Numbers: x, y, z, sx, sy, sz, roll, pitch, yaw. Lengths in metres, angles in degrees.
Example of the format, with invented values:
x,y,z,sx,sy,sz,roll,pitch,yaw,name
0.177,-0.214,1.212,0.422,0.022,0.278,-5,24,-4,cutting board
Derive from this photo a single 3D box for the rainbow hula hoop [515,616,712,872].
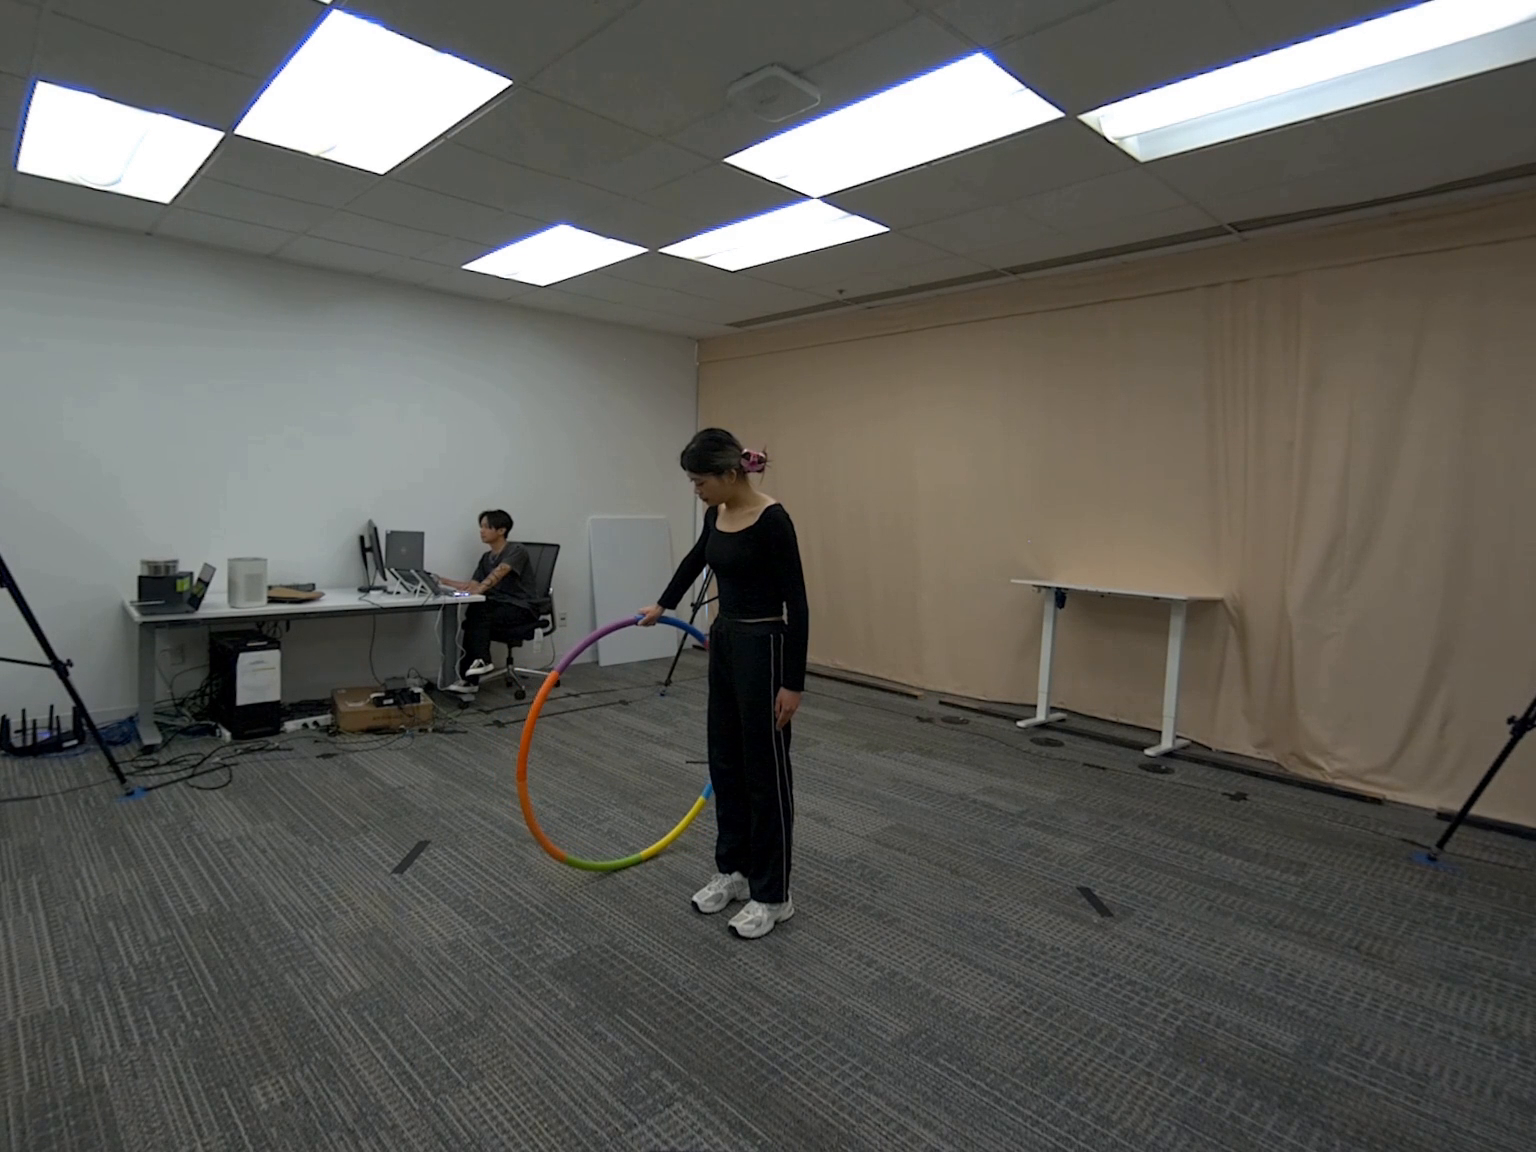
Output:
x,y,z,sx,sy,sz,roll,pitch,yaw,name
-0.493,0.619,3.142,0.036,0.975,0.956,8,8,42,rainbow hula hoop
